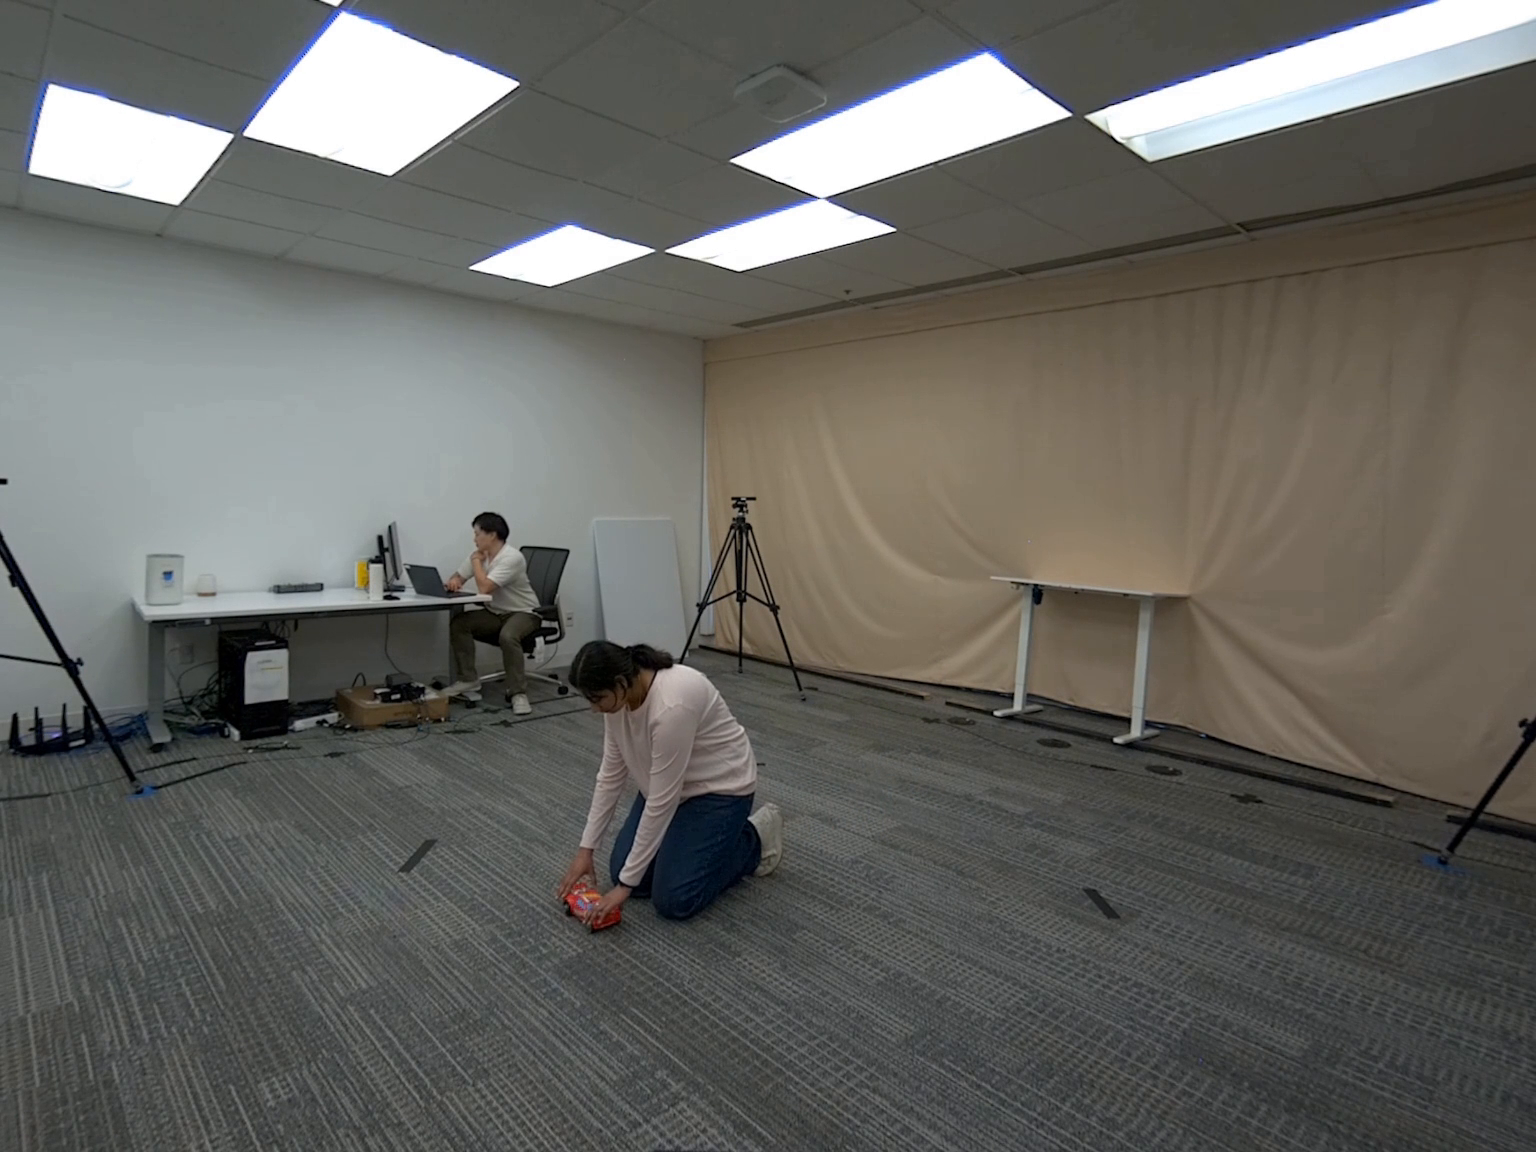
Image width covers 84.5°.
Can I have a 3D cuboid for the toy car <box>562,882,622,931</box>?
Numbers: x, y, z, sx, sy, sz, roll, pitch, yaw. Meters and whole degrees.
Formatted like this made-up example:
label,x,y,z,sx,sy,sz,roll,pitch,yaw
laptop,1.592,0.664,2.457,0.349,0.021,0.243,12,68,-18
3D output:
label,x,y,z,sx,sy,sz,roll,pitch,yaw
toy car,-0.596,1.093,2.778,0.127,0.082,0.262,-2,17,-37
